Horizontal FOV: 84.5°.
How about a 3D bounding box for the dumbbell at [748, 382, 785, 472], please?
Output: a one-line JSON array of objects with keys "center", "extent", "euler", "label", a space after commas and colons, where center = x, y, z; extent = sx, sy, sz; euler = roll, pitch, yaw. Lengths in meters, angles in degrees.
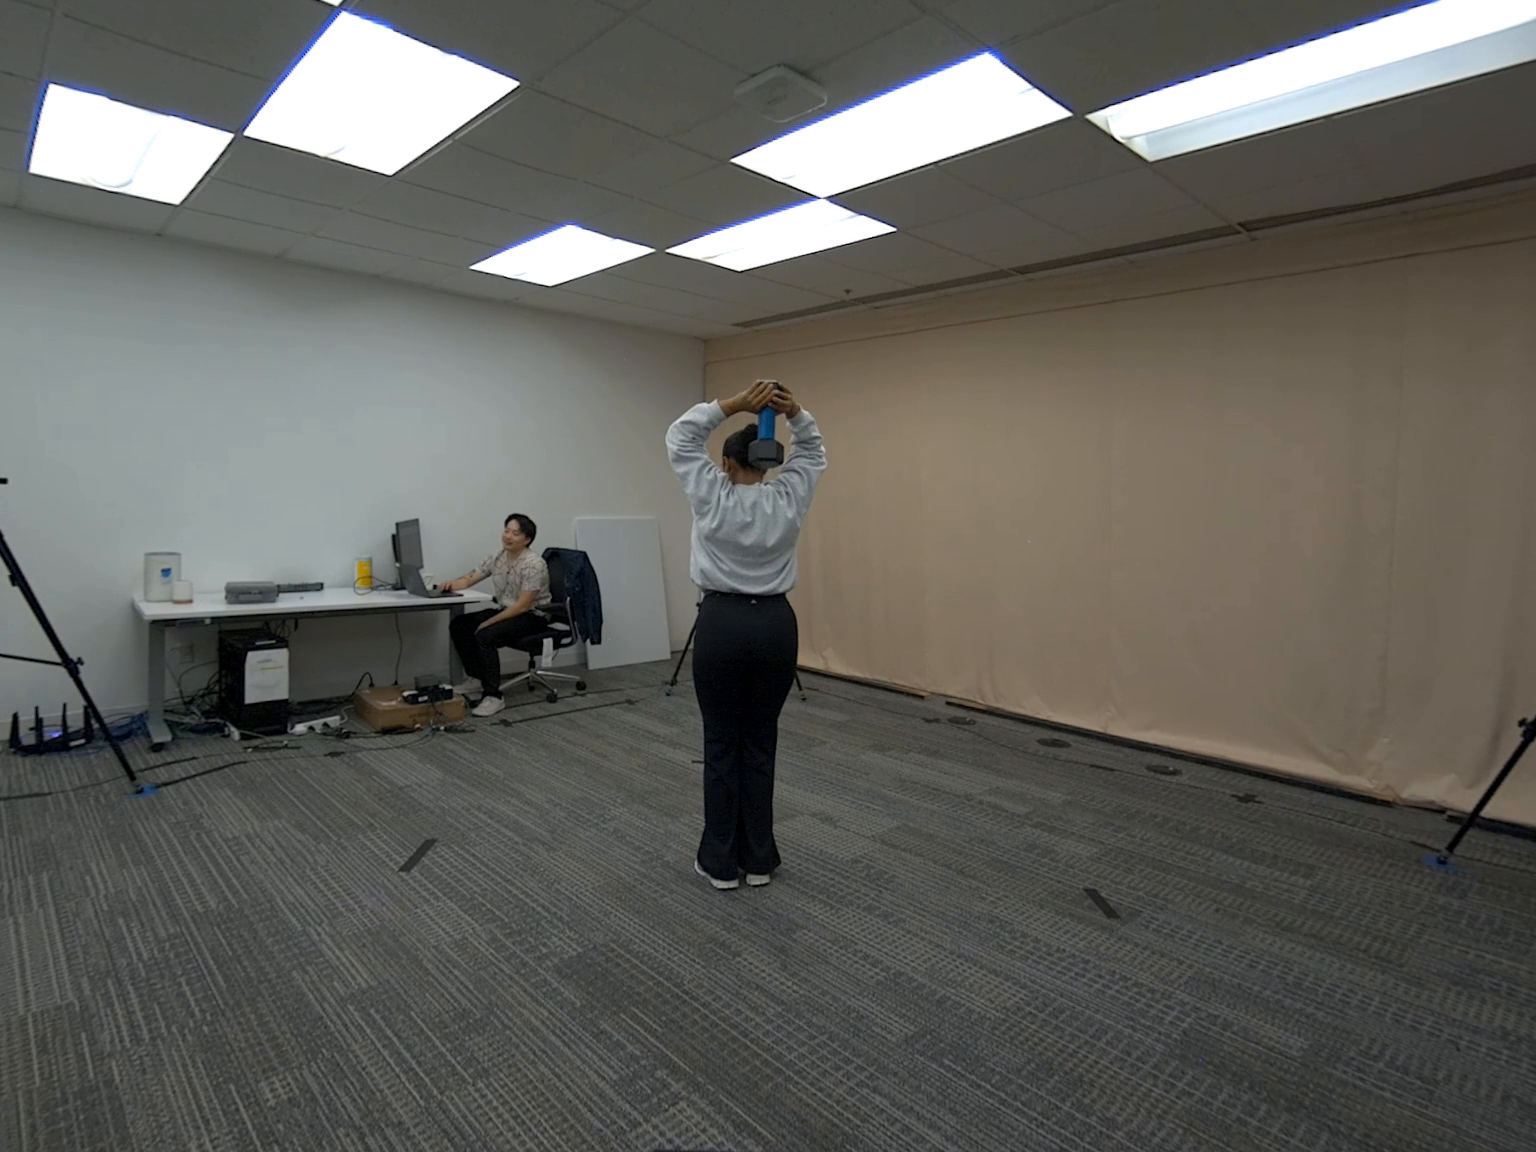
[{"center": [-0.018, -0.525, 2.916], "extent": [0.111, 0.296, 0.119], "euler": [-5, -13, 30], "label": "dumbbell"}]
